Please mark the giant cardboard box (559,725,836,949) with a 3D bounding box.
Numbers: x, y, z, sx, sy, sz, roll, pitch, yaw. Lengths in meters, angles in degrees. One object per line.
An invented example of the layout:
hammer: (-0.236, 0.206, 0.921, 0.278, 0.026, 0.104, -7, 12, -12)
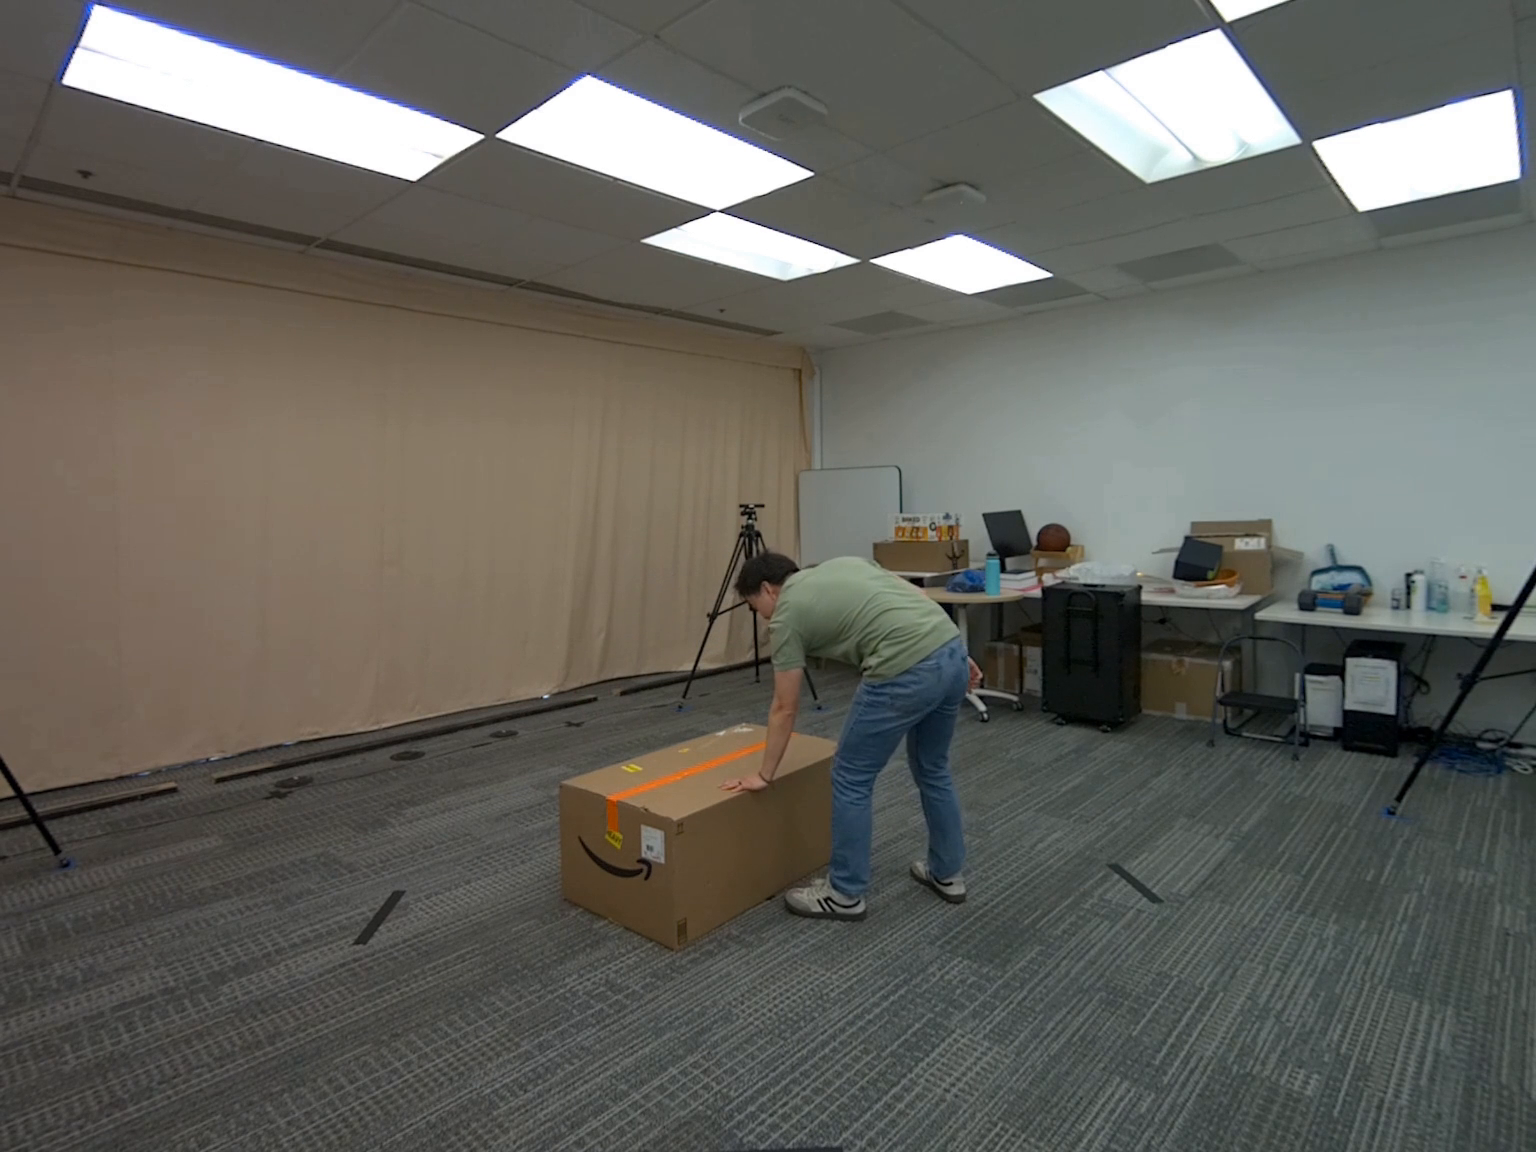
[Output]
giant cardboard box: (-0.194, 0.913, 3.182, 0.596, 0.425, 0.995, 2, 6, 40)
